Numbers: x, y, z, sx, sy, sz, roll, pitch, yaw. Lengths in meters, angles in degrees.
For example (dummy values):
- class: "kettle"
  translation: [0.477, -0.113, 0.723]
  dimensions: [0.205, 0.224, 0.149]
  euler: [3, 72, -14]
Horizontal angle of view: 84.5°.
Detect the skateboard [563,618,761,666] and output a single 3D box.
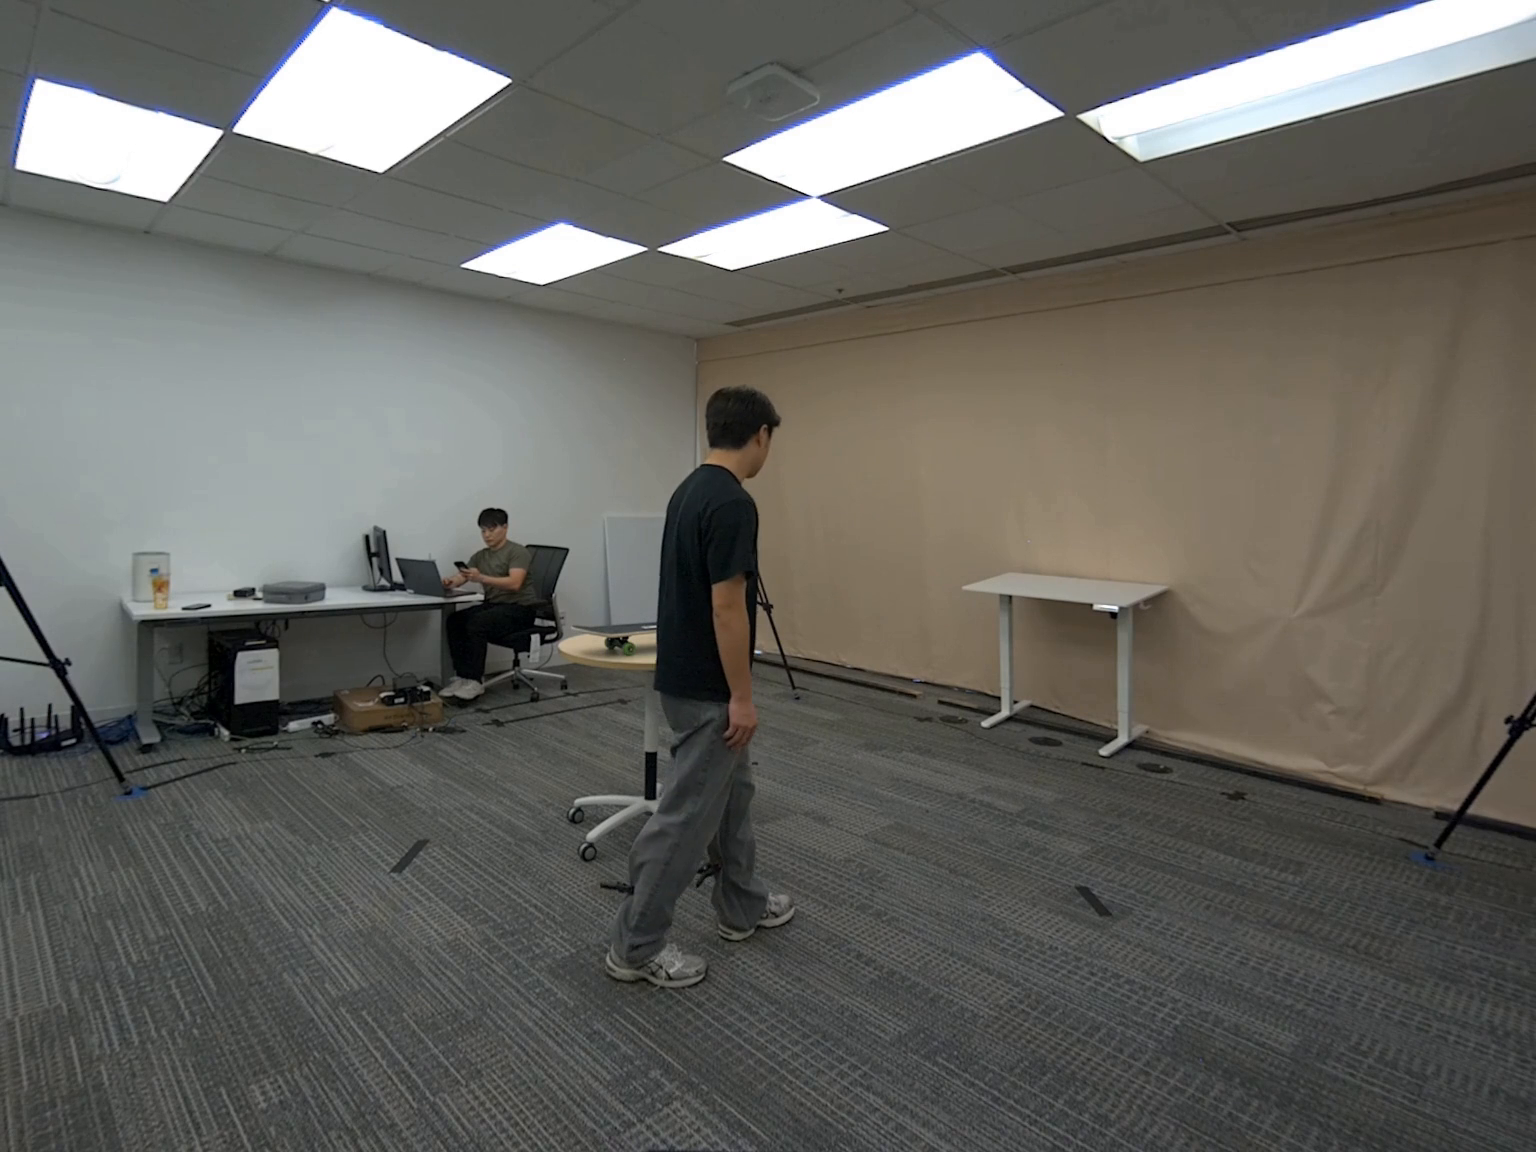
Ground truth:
- class: "skateboard"
  translation: [-0.411, 0.242, 3.379]
  dimensions: [0.769, 0.110, 0.198]
  euler: [-3, 9, -35]
